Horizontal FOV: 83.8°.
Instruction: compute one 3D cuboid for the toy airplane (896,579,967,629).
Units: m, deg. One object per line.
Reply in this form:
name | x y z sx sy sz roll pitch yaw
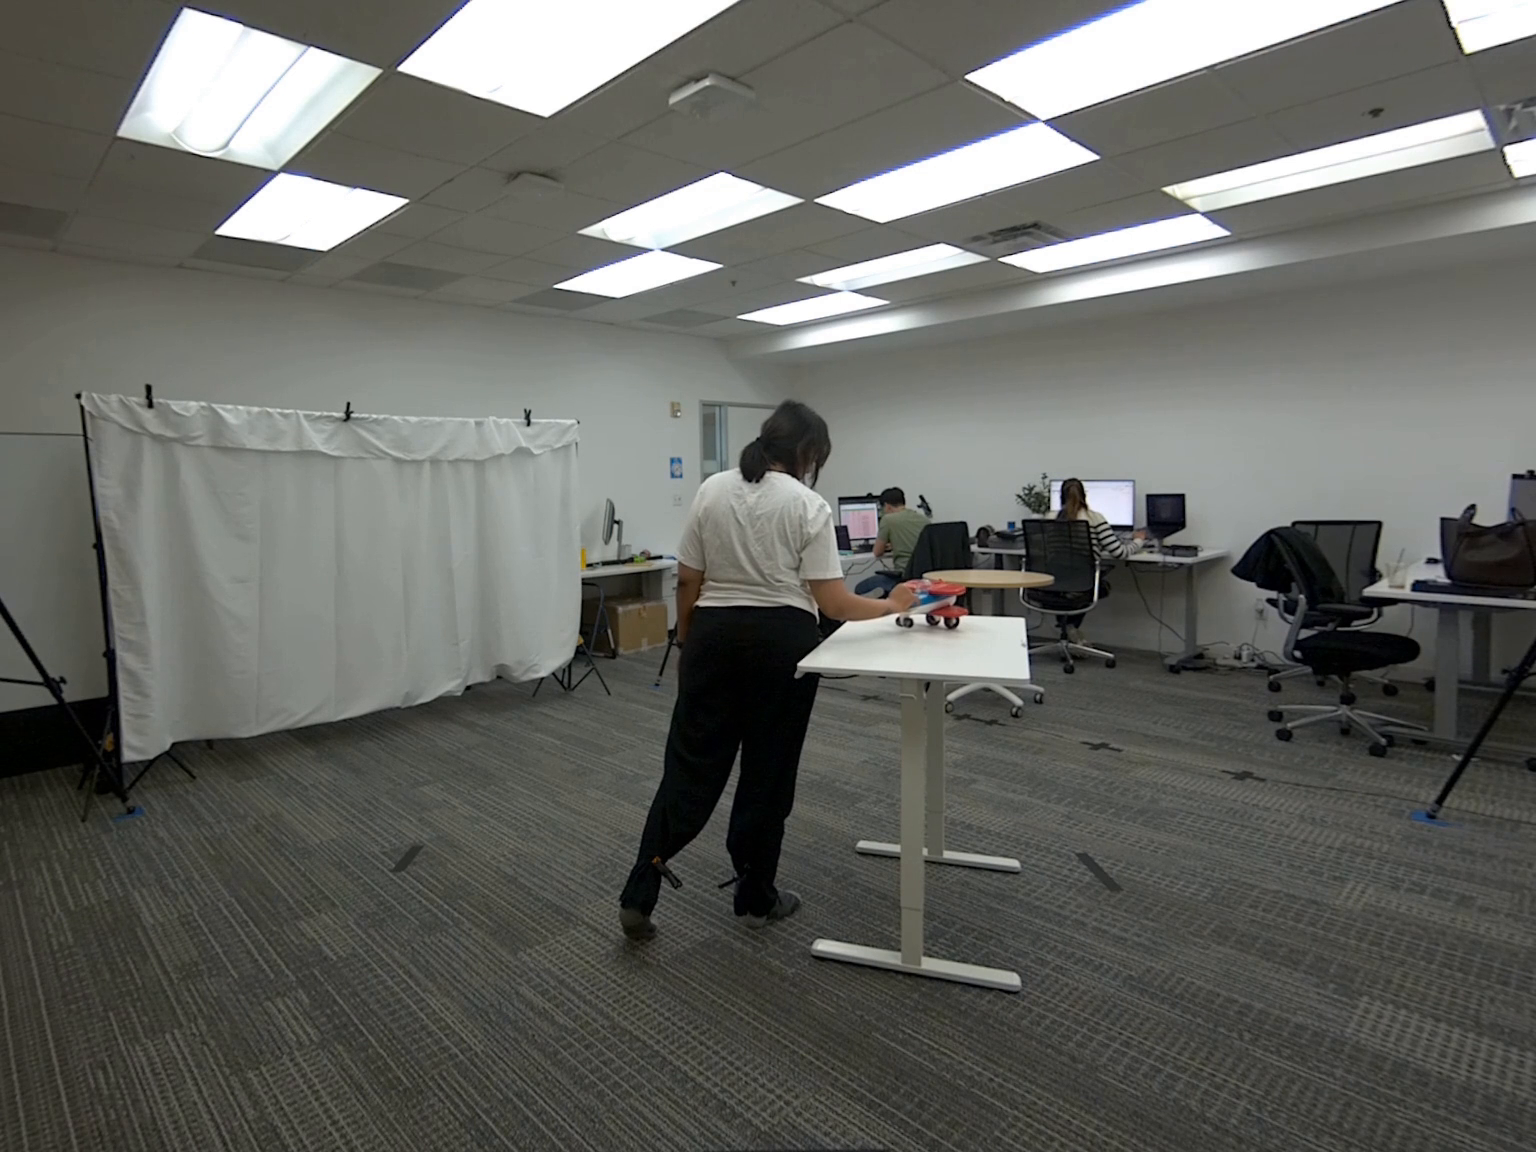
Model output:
toy airplane | 0.555 0.101 2.872 0.258 0.156 0.252 5 2 29
